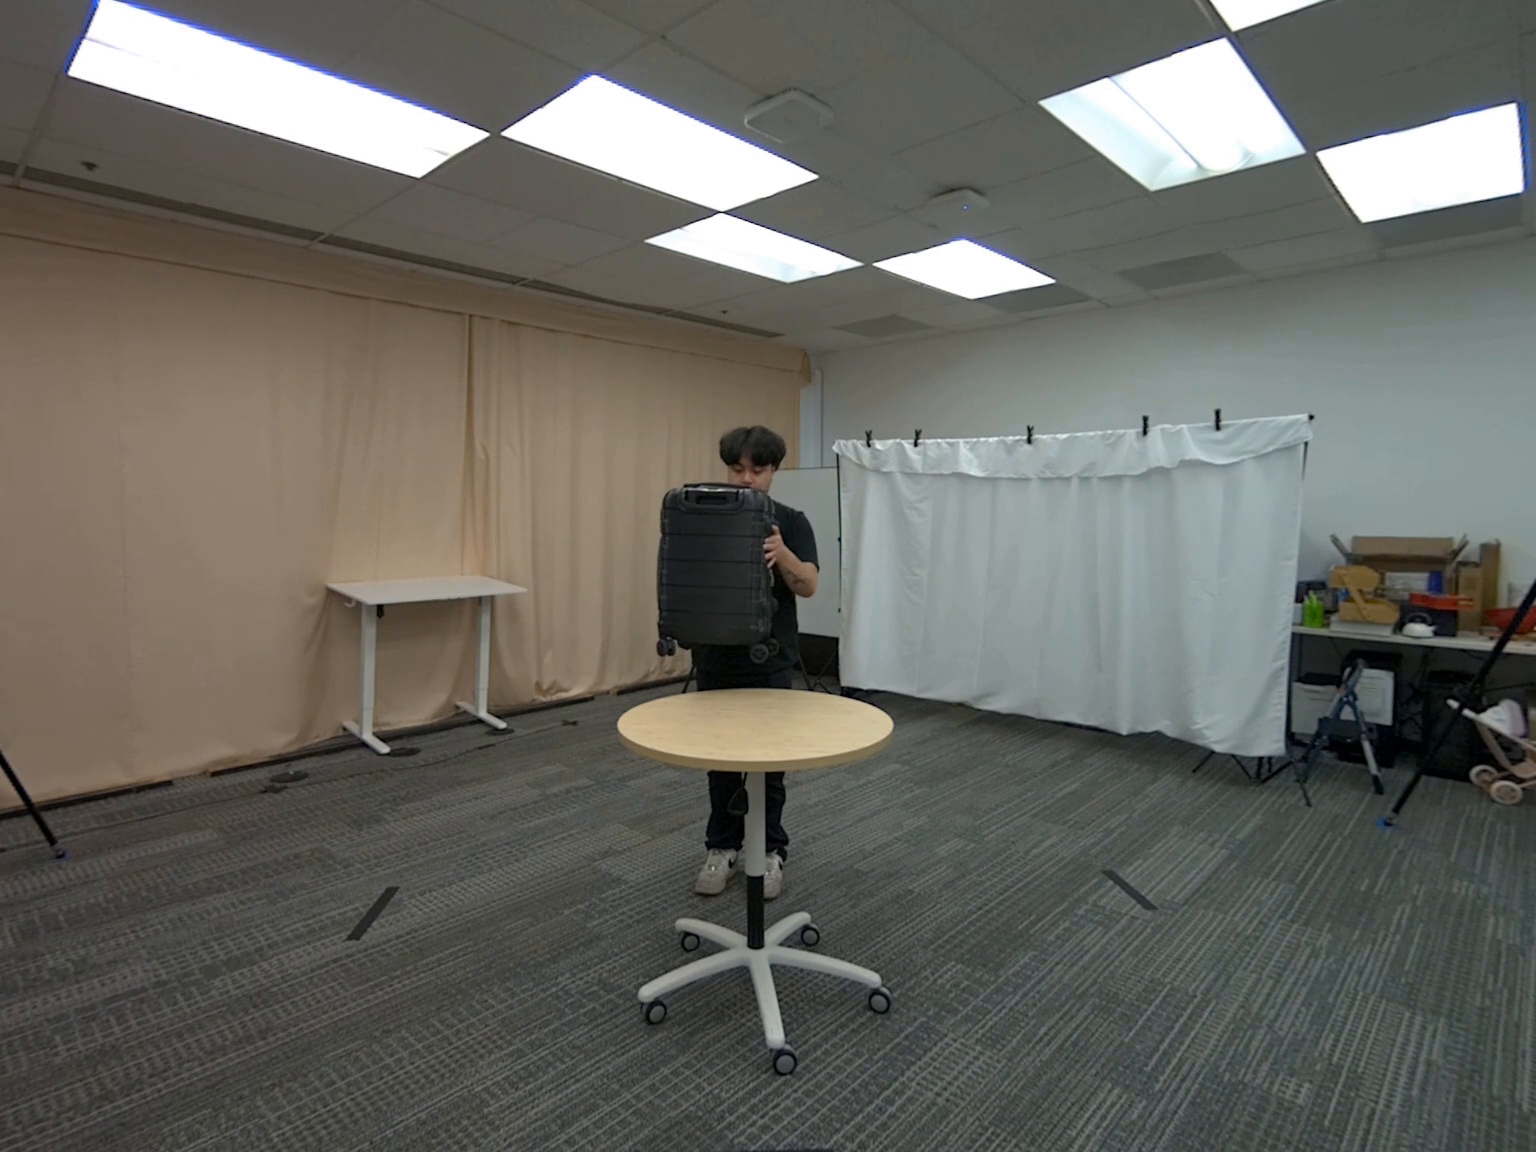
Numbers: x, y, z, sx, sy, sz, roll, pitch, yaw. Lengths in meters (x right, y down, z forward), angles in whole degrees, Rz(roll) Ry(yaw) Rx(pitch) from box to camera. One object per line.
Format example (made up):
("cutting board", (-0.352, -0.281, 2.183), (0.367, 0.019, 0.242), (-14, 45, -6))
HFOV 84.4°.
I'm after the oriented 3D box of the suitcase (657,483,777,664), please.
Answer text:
("suitcase", (-0.166, -0.021, 2.753), (0.382, 0.550, 0.244), (0, -1, 15))
